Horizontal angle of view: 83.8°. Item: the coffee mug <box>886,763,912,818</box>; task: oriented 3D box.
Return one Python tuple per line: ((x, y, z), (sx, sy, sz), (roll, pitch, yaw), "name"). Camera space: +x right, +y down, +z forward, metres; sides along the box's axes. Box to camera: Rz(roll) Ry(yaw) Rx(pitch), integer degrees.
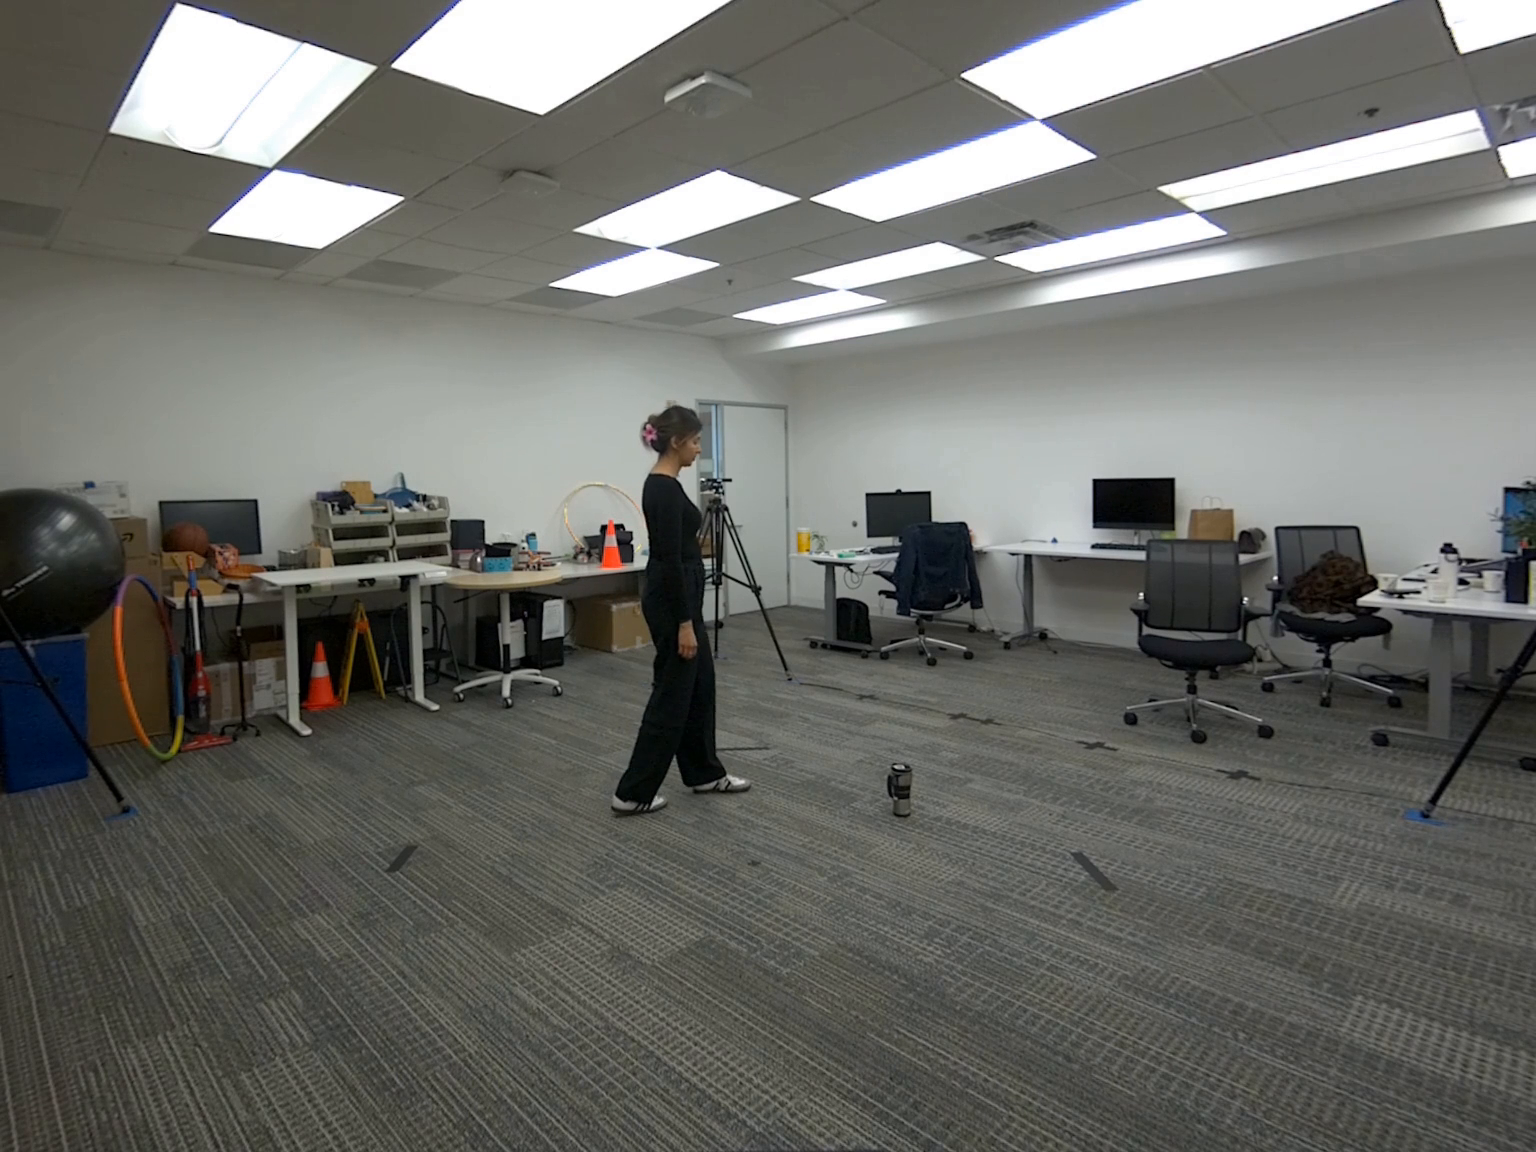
((0.533, 0.887, 3.529), (0.120, 0.202, 0.090), (2, 5, -20), "coffee mug")
